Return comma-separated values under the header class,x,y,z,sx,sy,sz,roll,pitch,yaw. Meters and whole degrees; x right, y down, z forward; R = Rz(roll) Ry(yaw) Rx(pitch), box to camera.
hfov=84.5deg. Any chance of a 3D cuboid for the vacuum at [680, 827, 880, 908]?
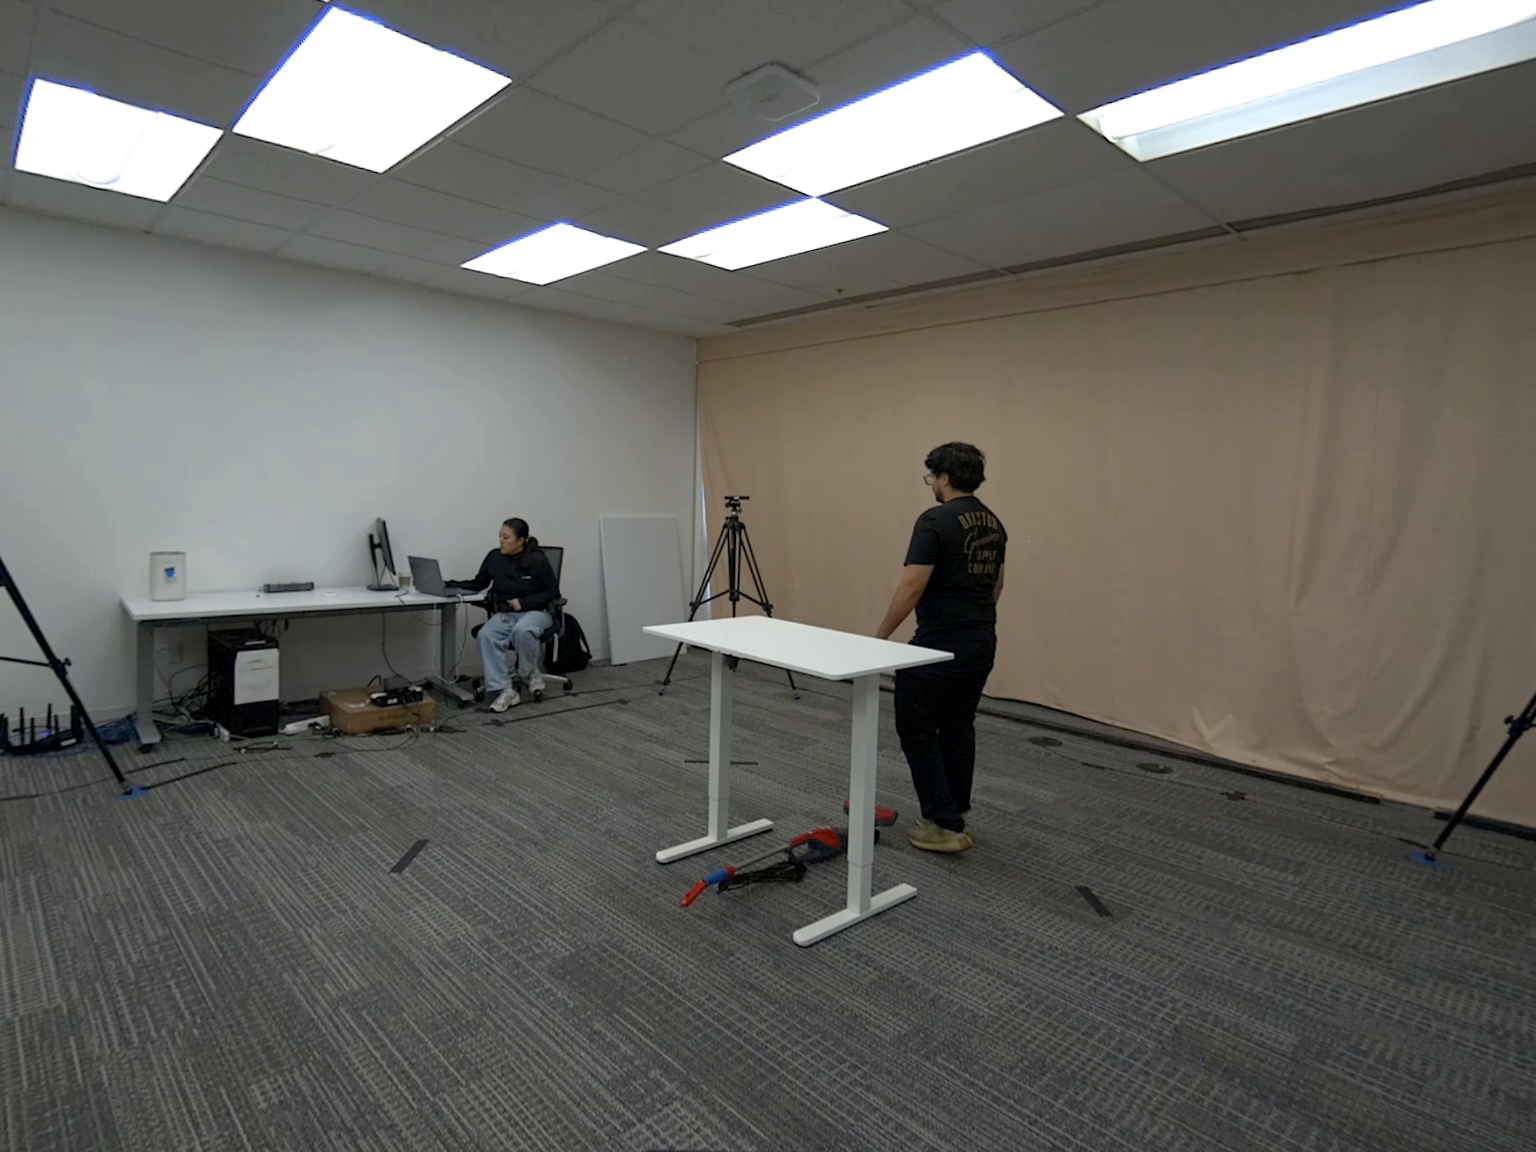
class,x,y,z,sx,sy,sz,roll,pitch,yaw
vacuum,0.067,1.049,3.116,0.259,0.143,1.026,5,7,42
